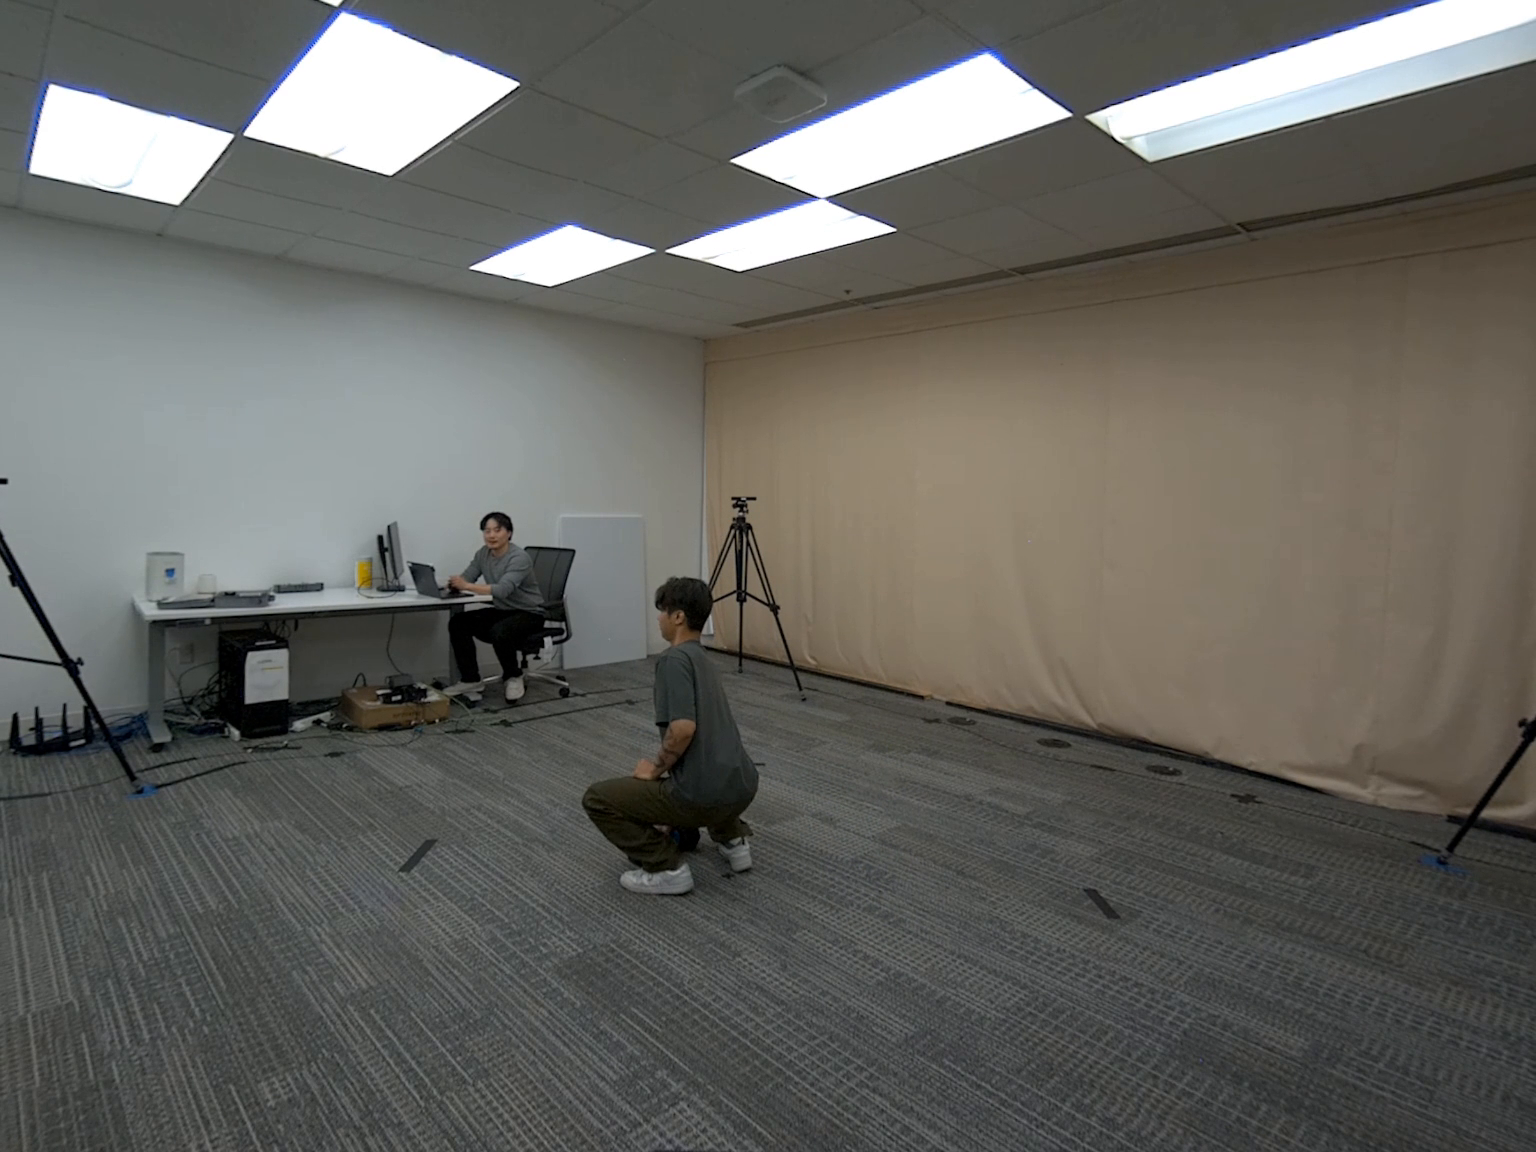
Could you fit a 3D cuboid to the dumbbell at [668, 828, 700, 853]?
[{"bbox_3d":[-0.405,1.029,3.273,0.287,0.125,0.109,-2,-26,-40],"label":"dumbbell"}]
